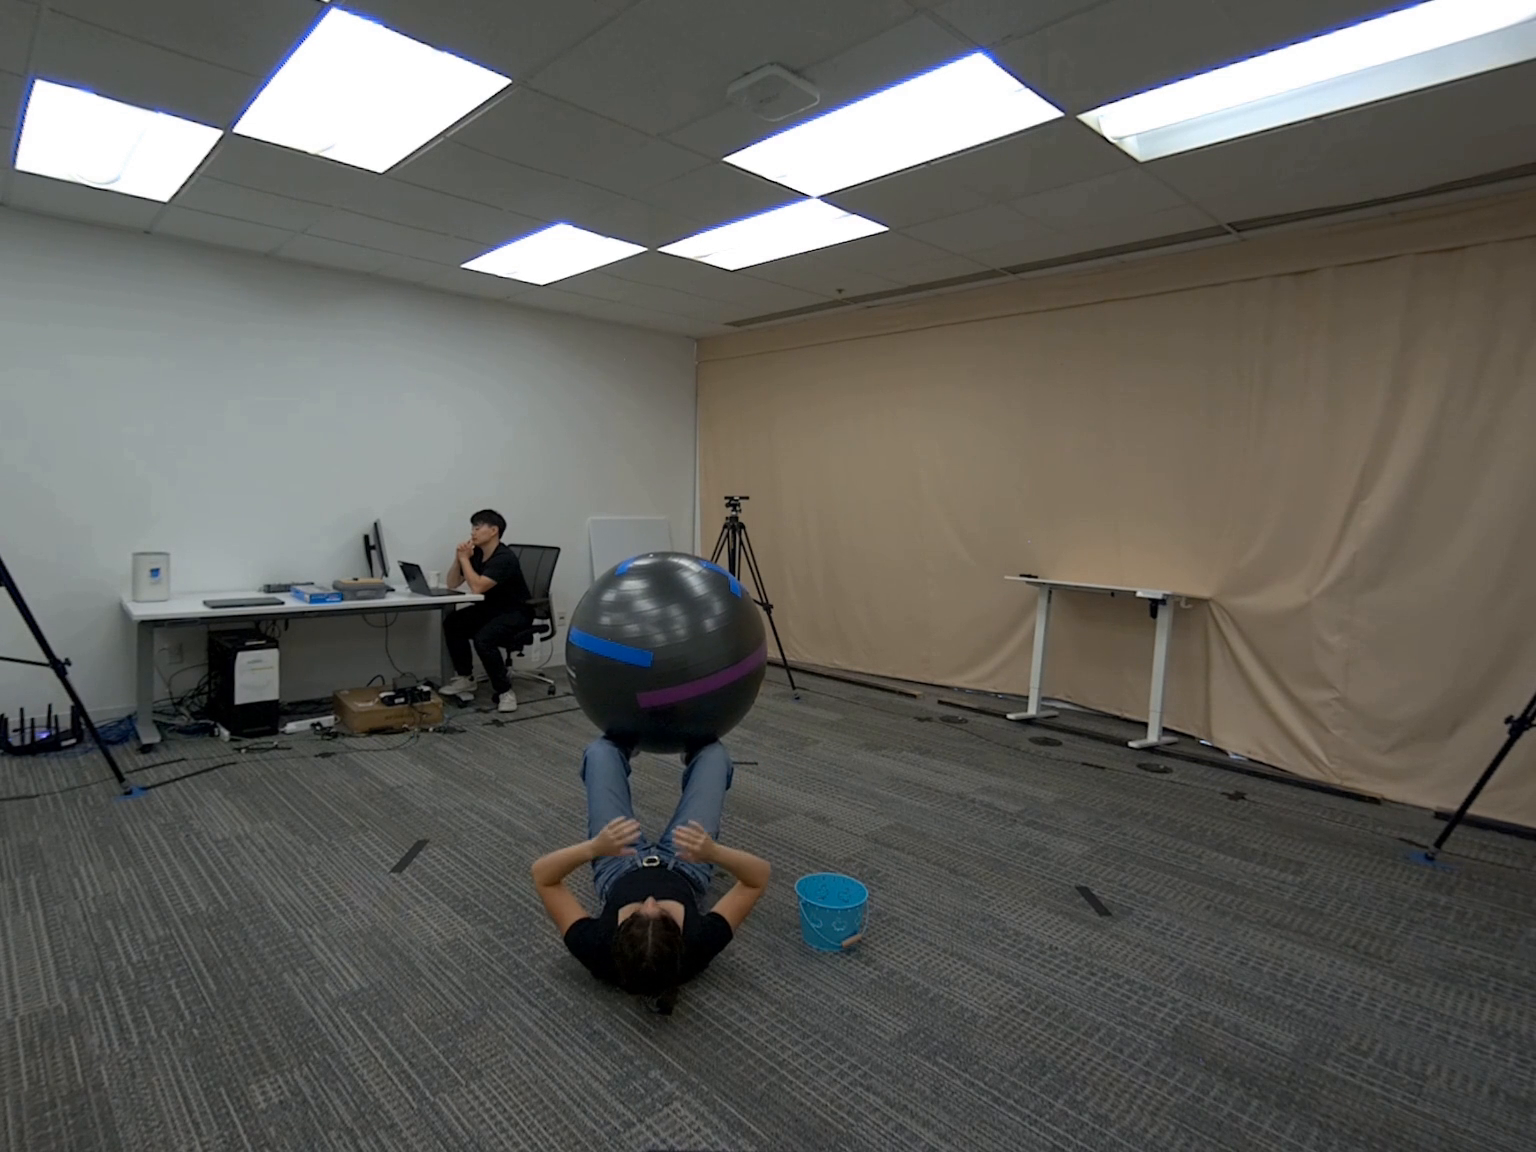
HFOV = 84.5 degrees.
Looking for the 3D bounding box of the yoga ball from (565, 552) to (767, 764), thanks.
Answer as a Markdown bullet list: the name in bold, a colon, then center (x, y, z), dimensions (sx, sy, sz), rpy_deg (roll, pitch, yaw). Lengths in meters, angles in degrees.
- **yoga ball**: center (-0.402, 0.293, 3.185), dimensions (0.757, 0.756, 0.761), rpy_deg (1, 4, -1)
